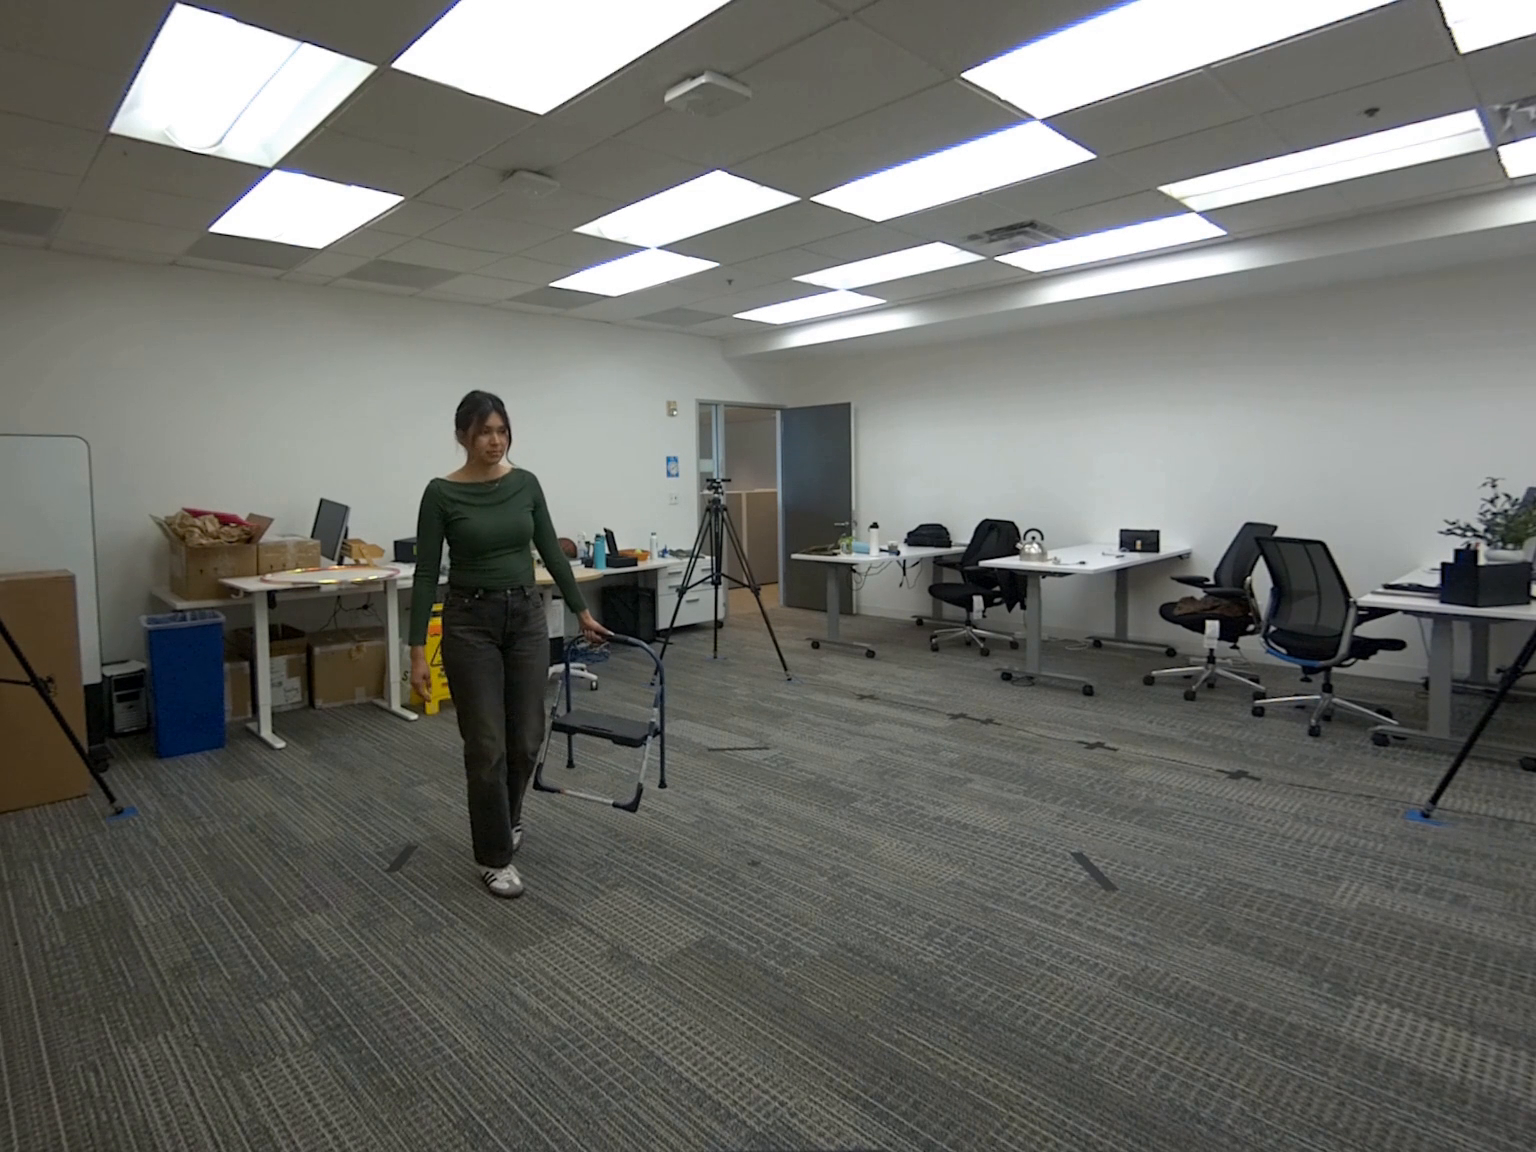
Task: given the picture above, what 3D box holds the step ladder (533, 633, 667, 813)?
[{"bbox_3d":[-0.601,0.521,3.261,0.436,0.605,0.345,7,1,12],"label":"step ladder"}]
